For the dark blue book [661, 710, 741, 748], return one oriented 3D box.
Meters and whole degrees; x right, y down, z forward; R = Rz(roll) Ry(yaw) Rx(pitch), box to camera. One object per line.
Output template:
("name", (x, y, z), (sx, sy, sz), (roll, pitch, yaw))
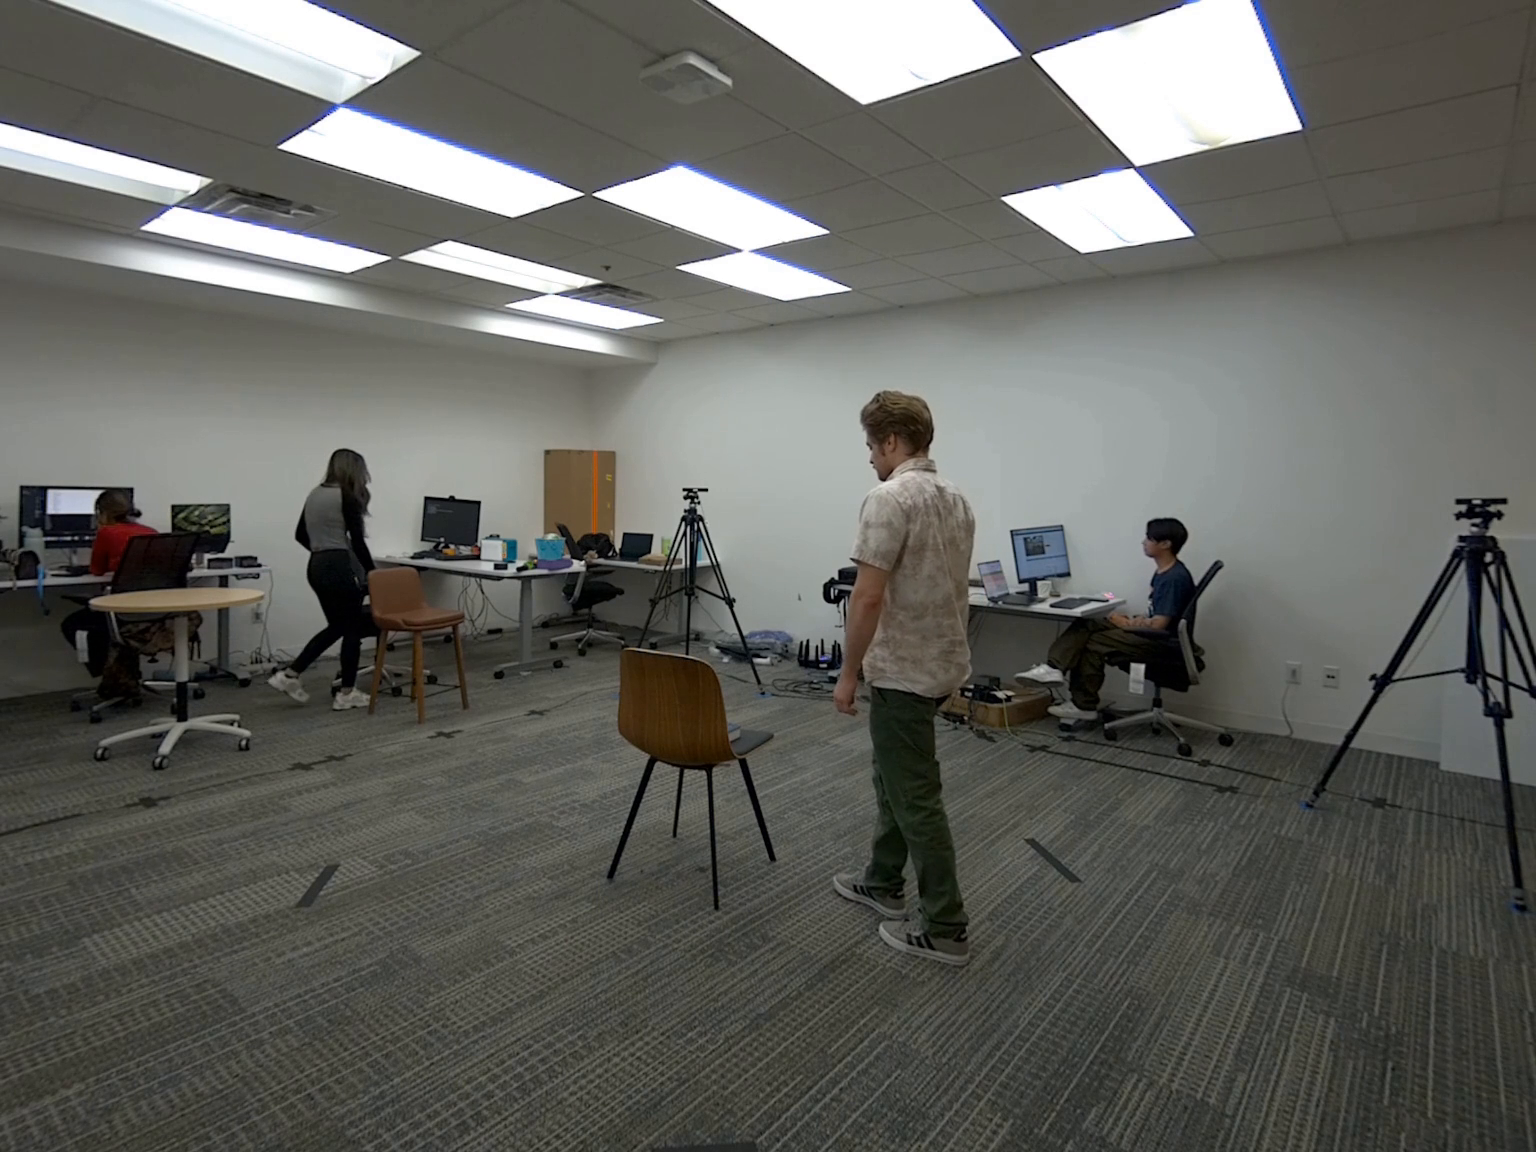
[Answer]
("dark blue book", (-0.251, 0.562, 3.112), (0.253, 0.045, 0.159), (6, 10, 37))
